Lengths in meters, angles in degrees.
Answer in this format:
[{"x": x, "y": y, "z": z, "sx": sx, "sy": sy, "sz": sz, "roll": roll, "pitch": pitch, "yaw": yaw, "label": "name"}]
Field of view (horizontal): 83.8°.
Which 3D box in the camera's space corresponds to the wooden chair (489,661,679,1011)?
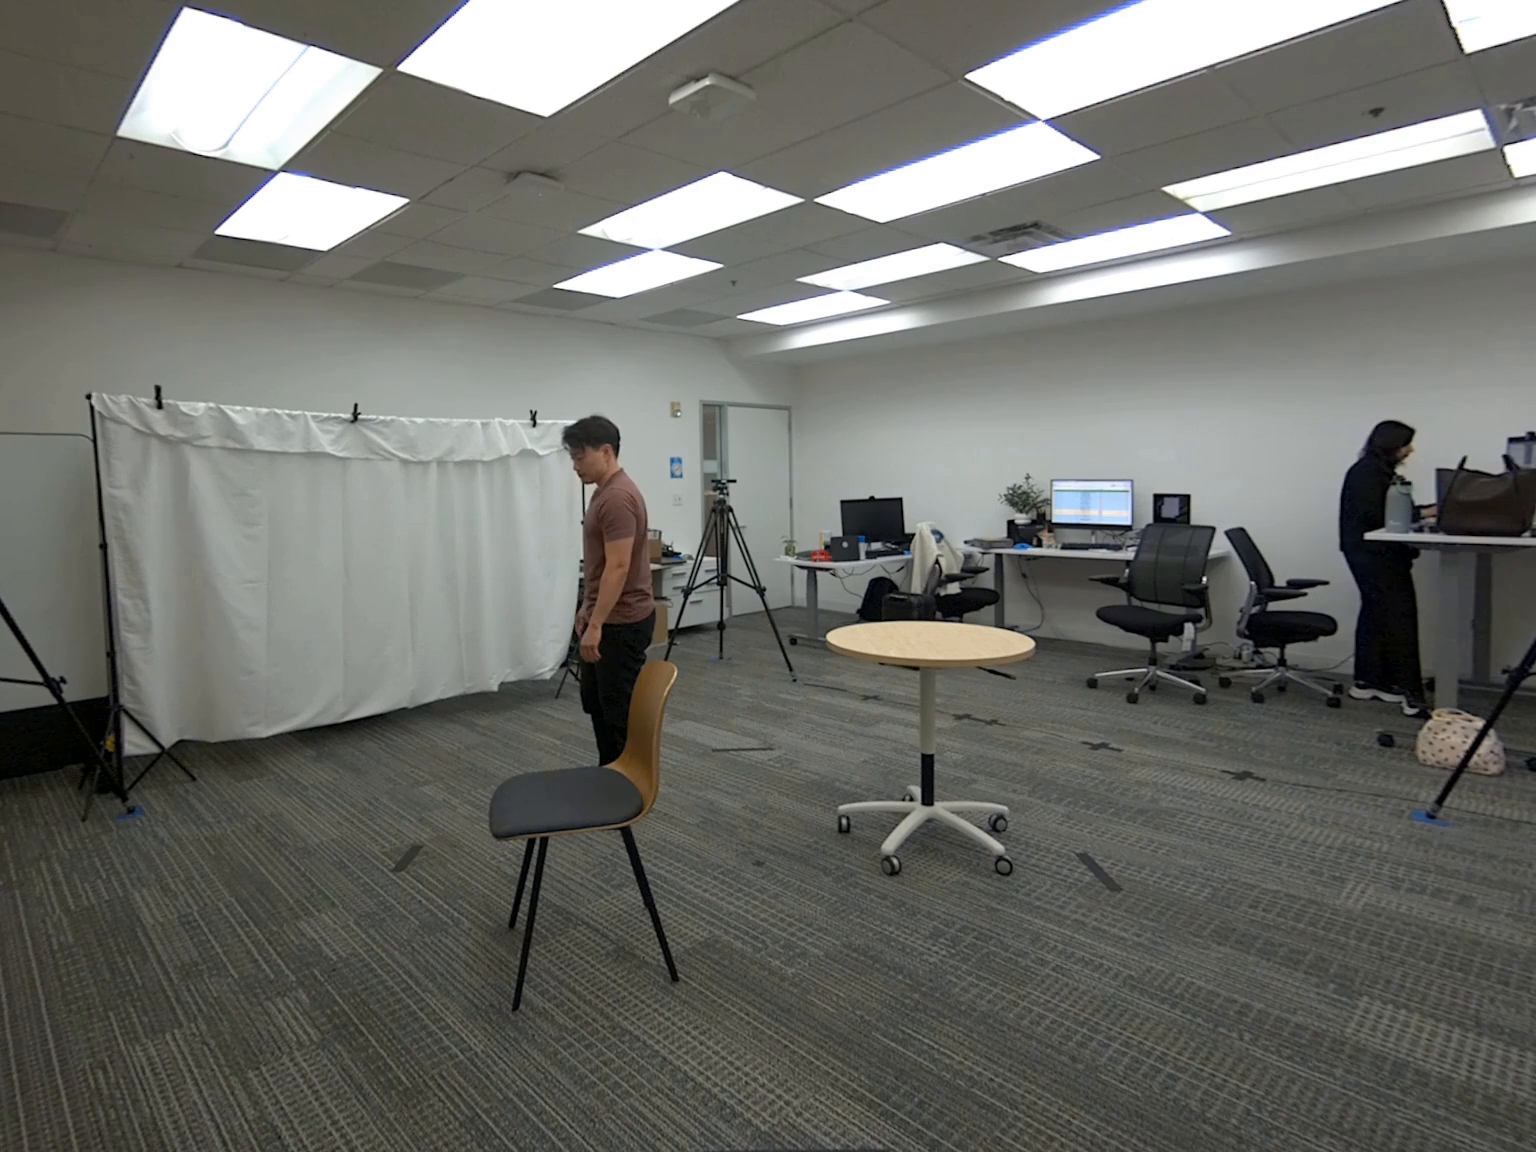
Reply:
[{"x": -0.544, "y": 0.700, "z": 2.507, "sx": 0.515, "sy": 0.875, "sz": 0.487, "roll": 2, "pitch": 3, "yaw": -18, "label": "wooden chair"}]
